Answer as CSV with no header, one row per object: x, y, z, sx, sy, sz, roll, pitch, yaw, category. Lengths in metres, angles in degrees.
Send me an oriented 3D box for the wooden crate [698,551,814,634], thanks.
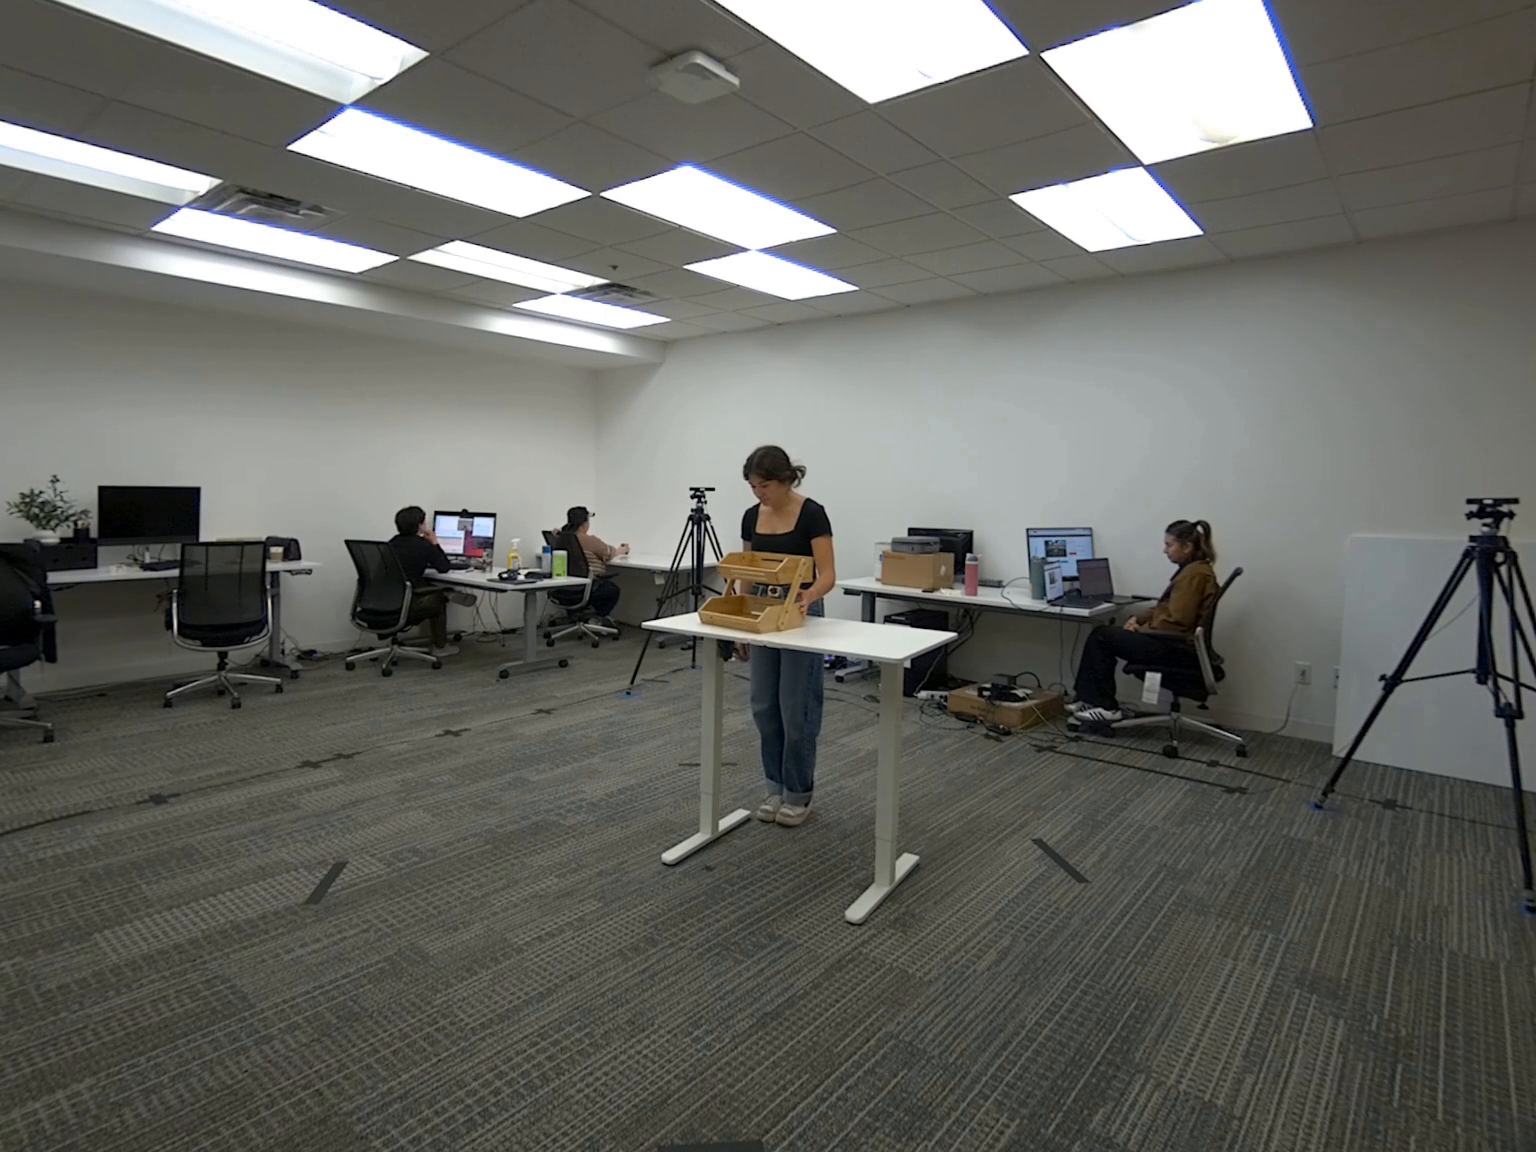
-0.056,0.048,3.173,0.336,0.272,0.293,6,6,42,wooden crate
